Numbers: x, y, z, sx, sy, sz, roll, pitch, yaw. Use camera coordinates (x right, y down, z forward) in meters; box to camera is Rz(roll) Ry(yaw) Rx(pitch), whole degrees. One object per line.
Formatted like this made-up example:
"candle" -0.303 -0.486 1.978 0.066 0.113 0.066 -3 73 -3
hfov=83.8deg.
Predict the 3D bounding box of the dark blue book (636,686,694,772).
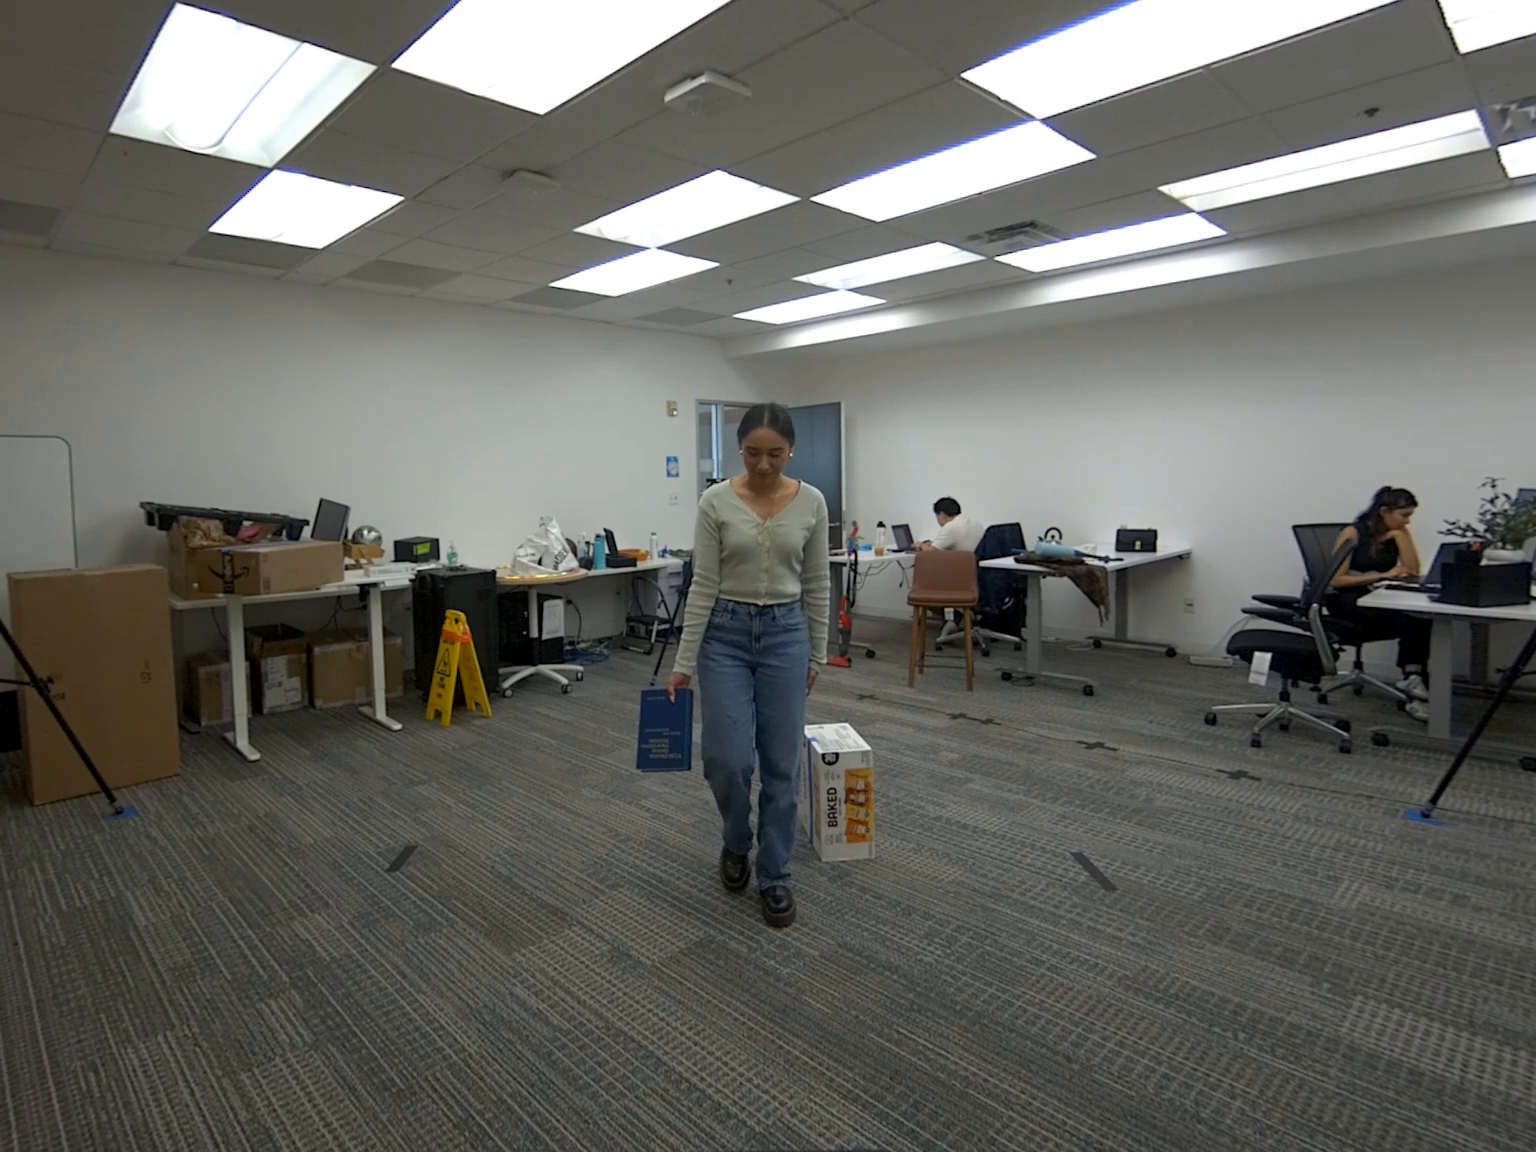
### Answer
"dark blue book" -0.310 0.474 2.632 0.165 0.249 0.044 -3 -23 12
